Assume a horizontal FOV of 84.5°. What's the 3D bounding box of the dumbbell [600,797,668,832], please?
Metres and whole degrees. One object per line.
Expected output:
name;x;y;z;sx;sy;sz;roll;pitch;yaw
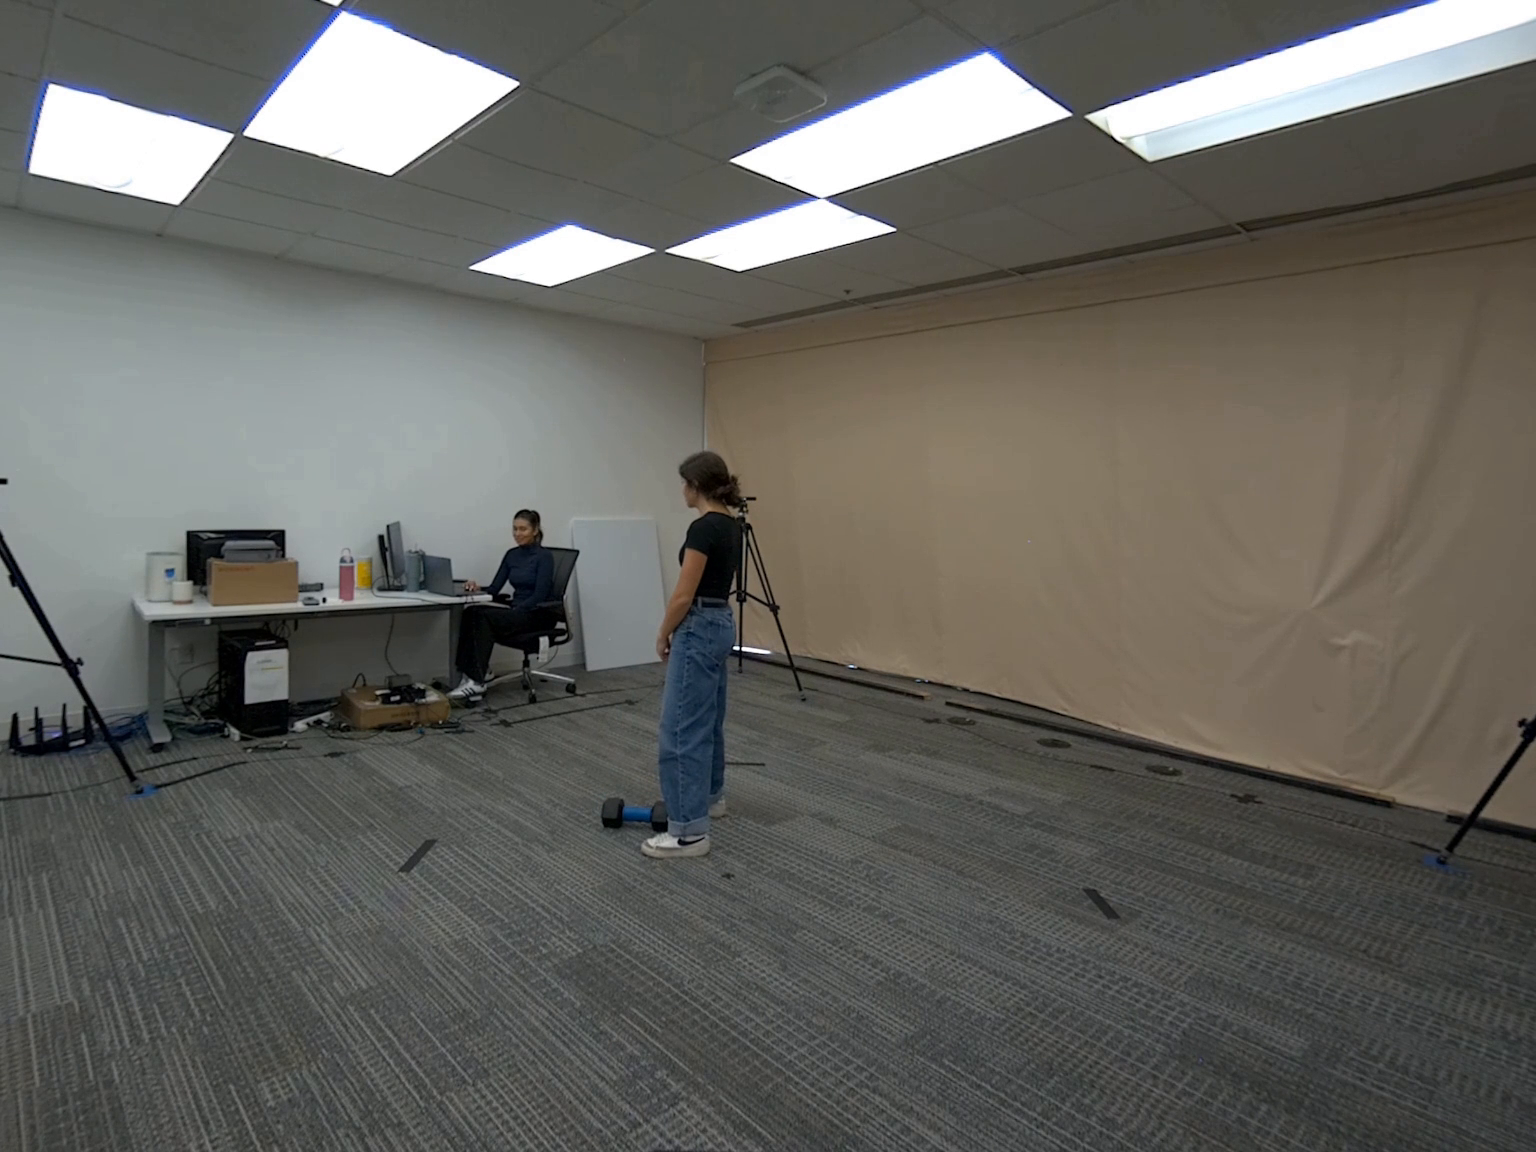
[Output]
dumbbell;-0.556;1.006;3.539;0.295;0.120;0.110;2;35;7
